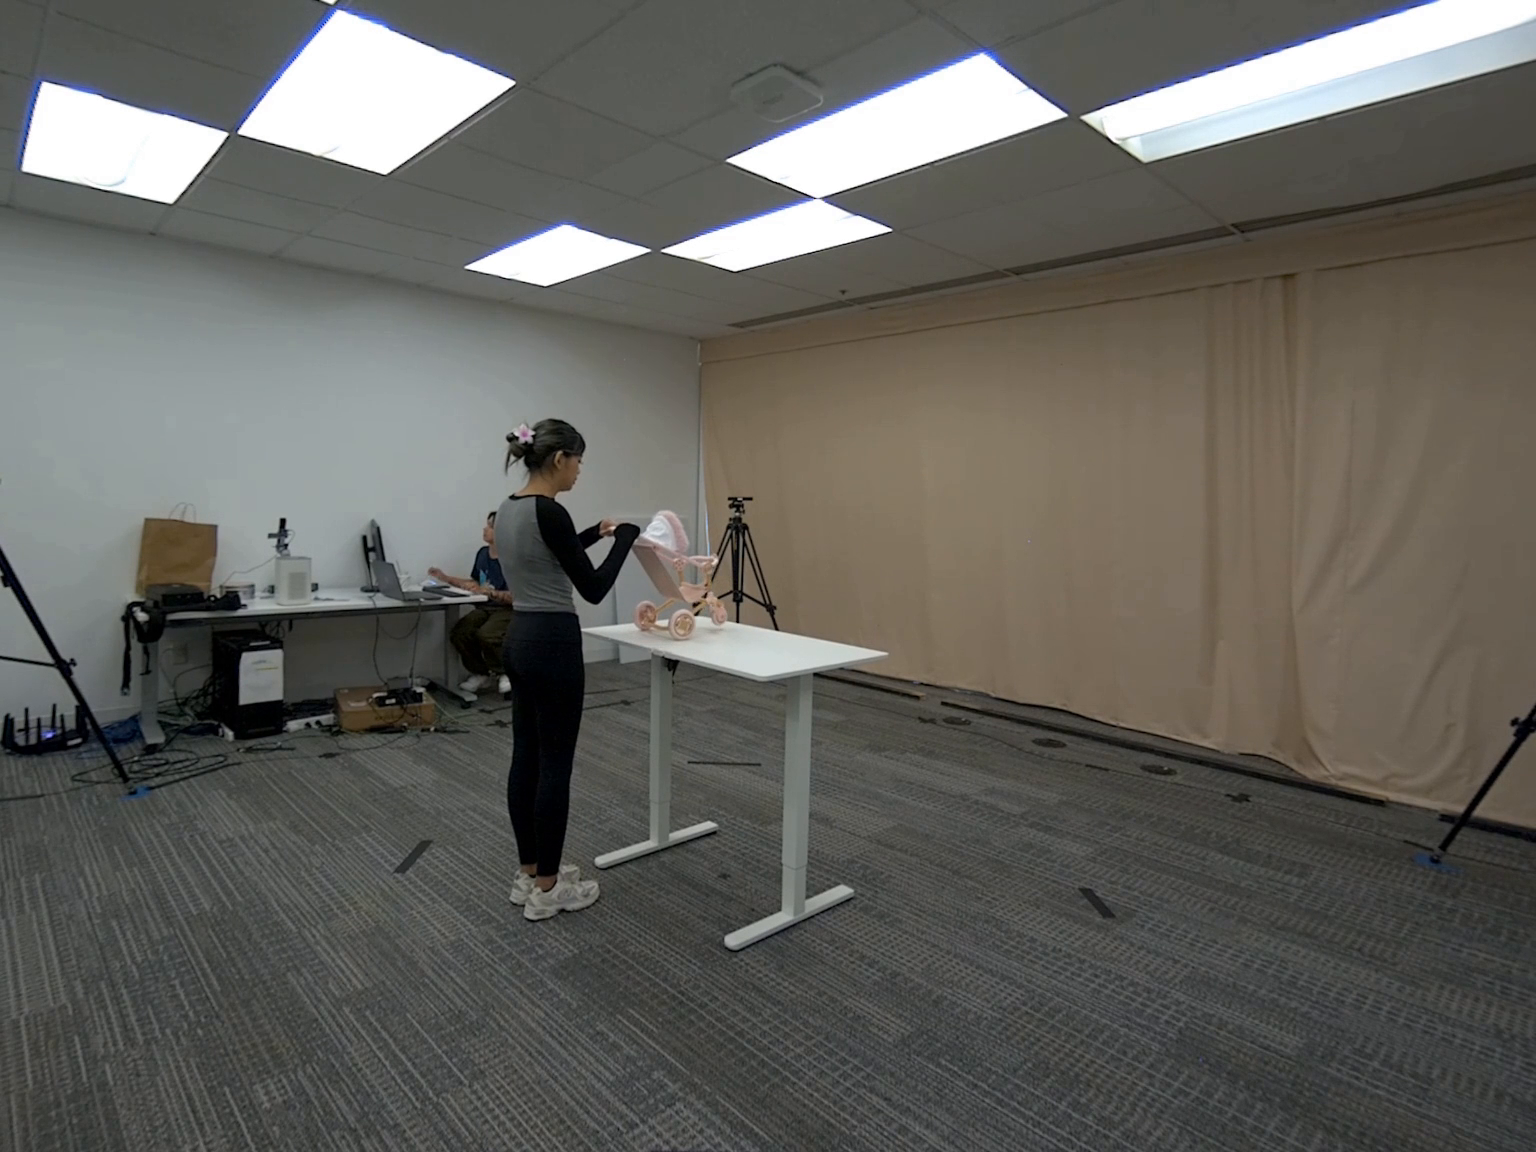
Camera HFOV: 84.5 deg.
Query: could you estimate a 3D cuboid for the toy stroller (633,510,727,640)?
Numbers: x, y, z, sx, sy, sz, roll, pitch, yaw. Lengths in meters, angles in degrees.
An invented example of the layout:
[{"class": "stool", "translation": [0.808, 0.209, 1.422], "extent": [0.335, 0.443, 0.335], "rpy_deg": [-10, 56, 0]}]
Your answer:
[{"class": "toy stroller", "translation": [-0.355, -0.007, 3.111], "extent": [0.337, 0.528, 0.288], "rpy_deg": [-25, 18, -30]}]
